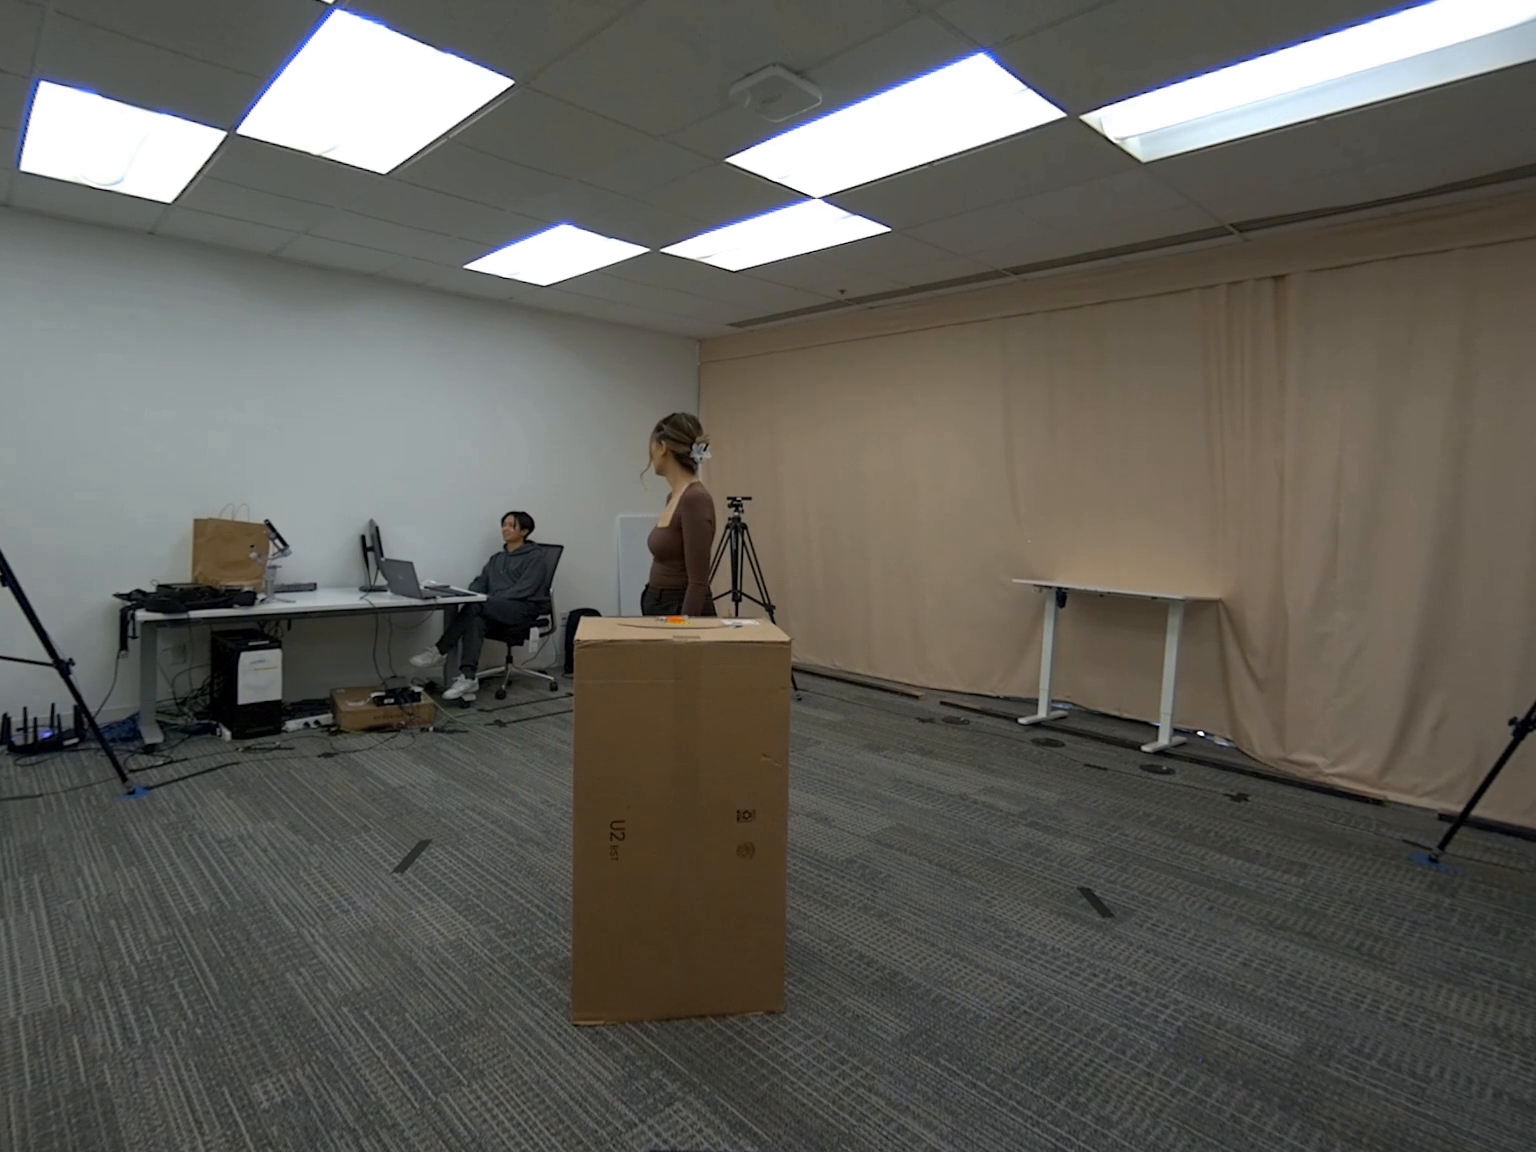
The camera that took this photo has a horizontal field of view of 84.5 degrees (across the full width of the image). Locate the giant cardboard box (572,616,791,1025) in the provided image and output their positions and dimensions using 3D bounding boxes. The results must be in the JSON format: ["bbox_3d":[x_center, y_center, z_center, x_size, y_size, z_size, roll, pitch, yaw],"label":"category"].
[{"bbox_3d":[-0.268,0.652,2.421,0.580,1.024,0.451,1,4,-8],"label":"giant cardboard box"}]
